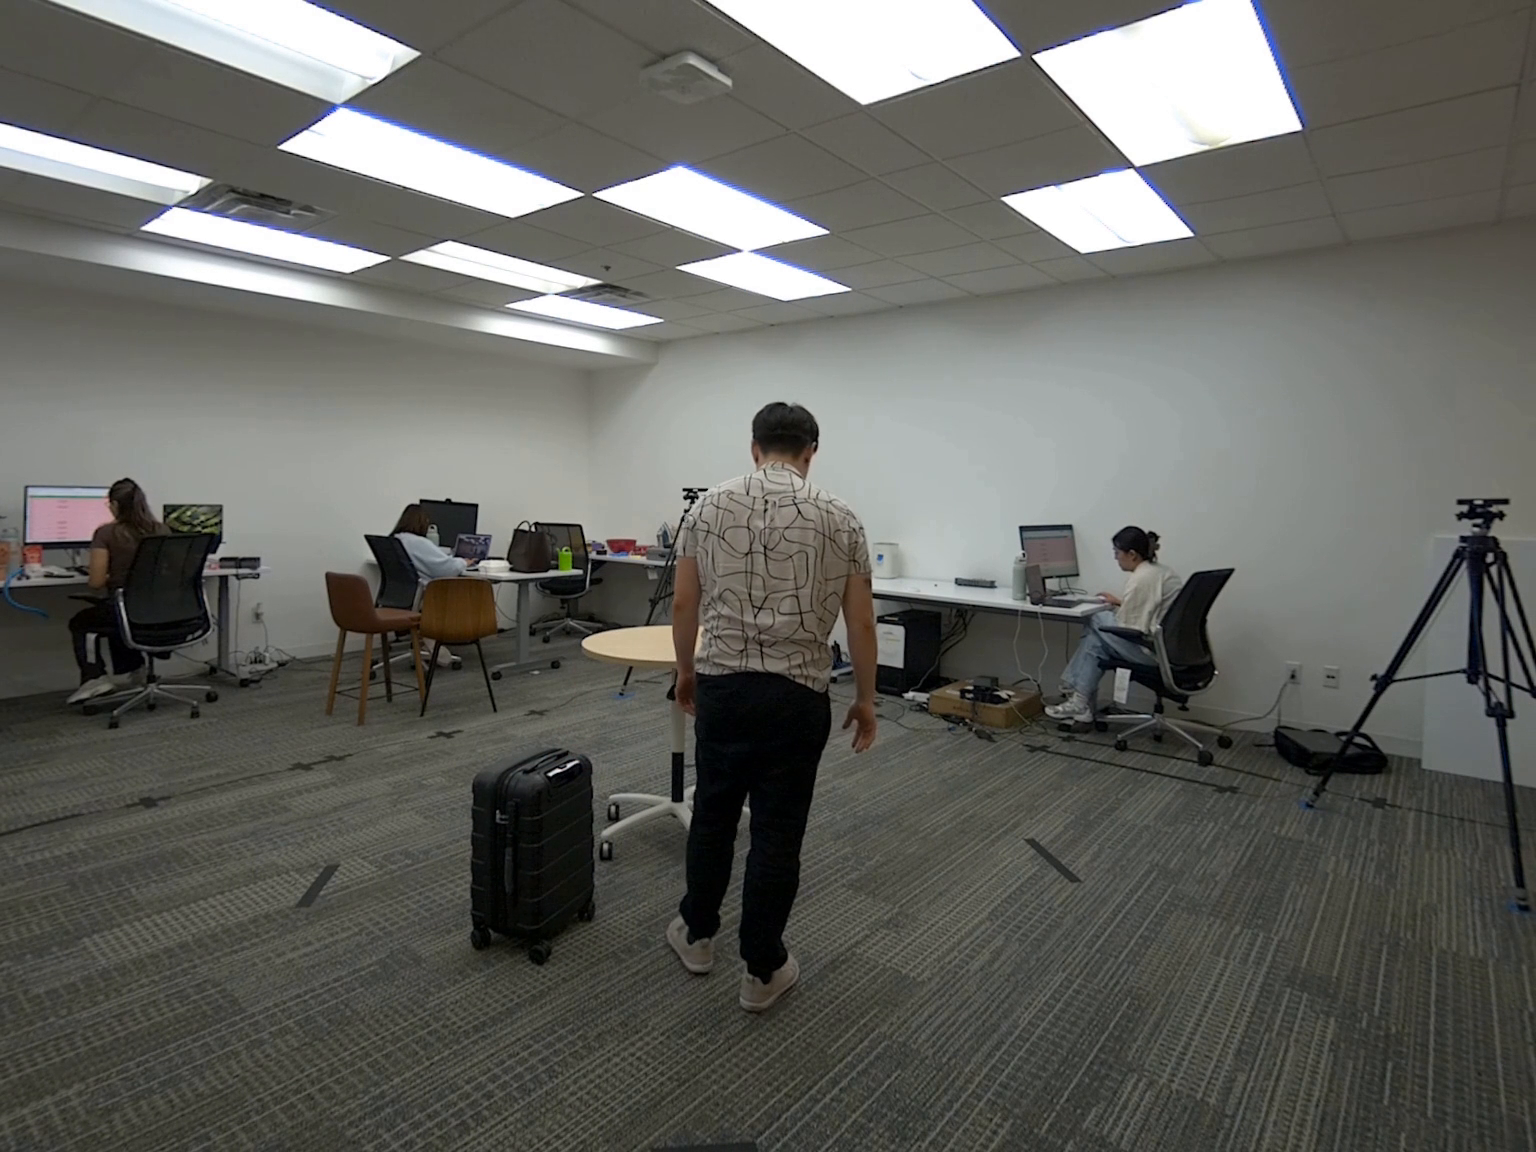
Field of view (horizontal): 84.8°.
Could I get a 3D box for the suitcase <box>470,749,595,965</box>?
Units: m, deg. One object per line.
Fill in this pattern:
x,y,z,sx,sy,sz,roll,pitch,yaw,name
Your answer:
-0.738,0.832,2.650,0.254,0.548,0.367,1,3,22,suitcase
